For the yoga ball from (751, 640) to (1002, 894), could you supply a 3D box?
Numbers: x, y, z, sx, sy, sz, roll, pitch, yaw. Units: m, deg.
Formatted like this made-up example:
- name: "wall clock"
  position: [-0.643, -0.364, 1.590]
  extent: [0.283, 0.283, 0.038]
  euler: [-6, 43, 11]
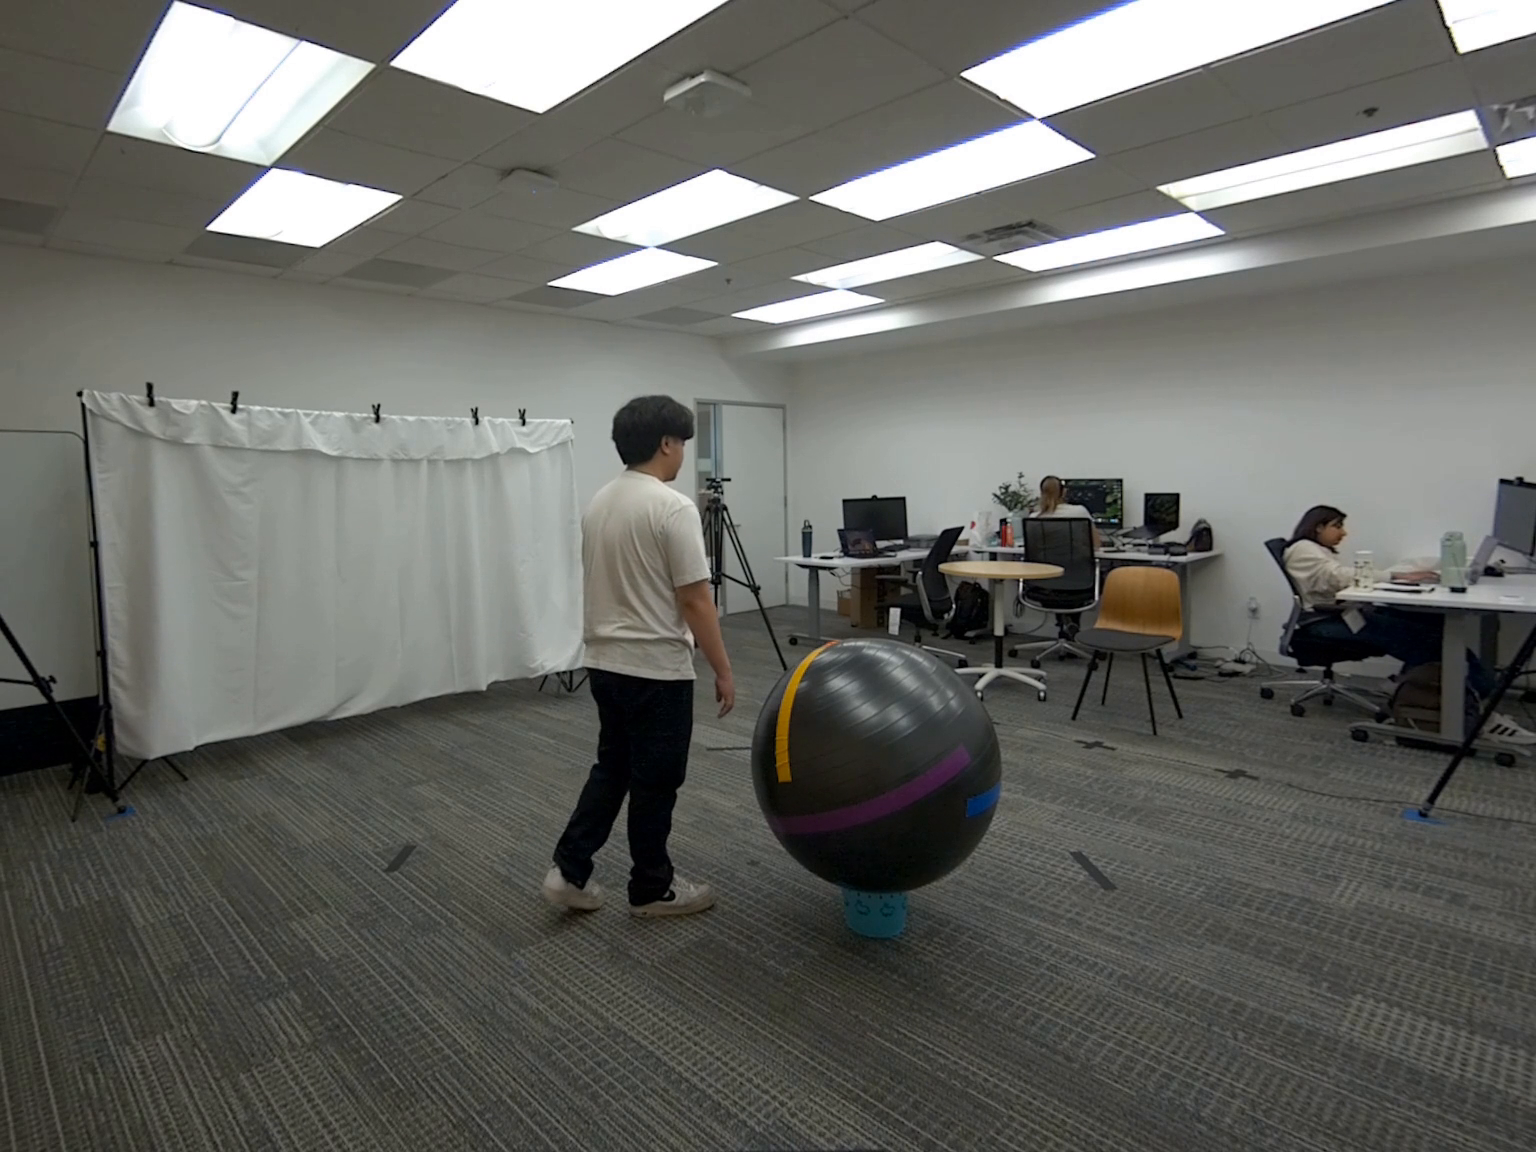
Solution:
- name: "yoga ball"
  position: [0.331, 0.573, 2.640]
  extent: [0.757, 0.755, 0.762]
  euler: [-1, 5, -2]
